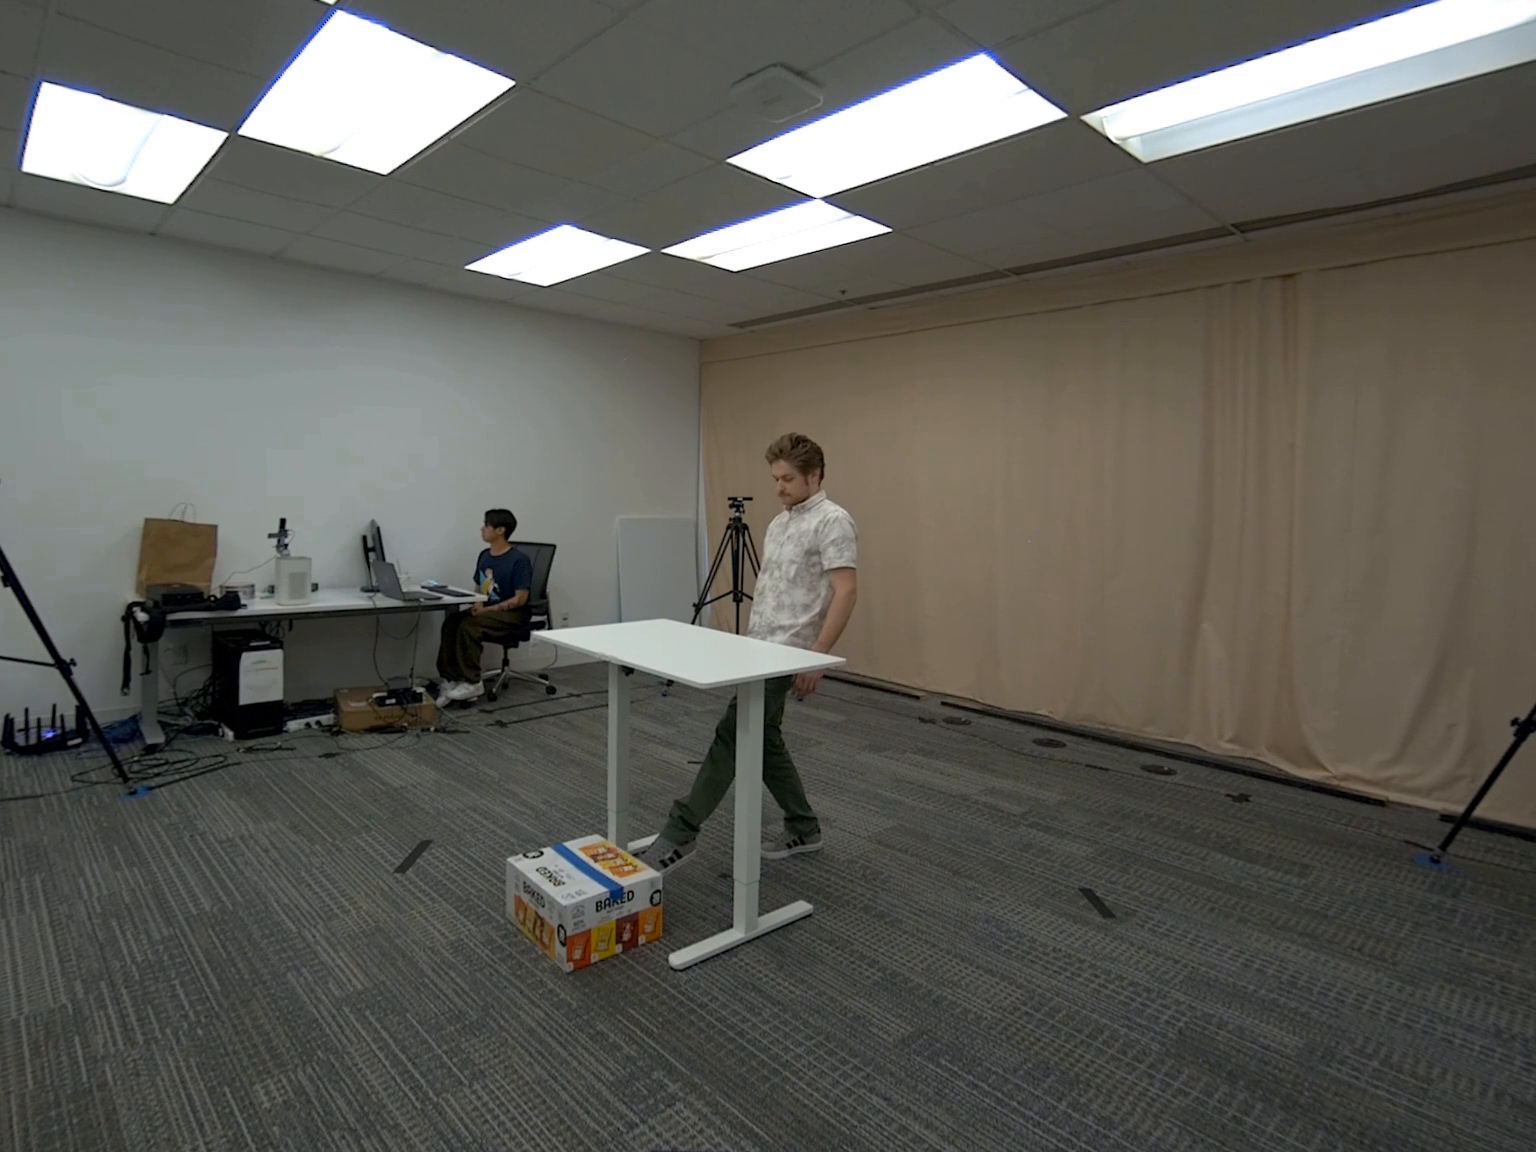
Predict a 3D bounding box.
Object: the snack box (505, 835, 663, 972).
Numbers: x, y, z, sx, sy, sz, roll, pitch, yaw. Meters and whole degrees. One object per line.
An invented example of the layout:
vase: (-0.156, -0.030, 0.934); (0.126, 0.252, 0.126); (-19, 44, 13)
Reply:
snack box: (-0.601, 1.036, 2.695); (0.332, 0.205, 0.415); (-3, 6, -40)
